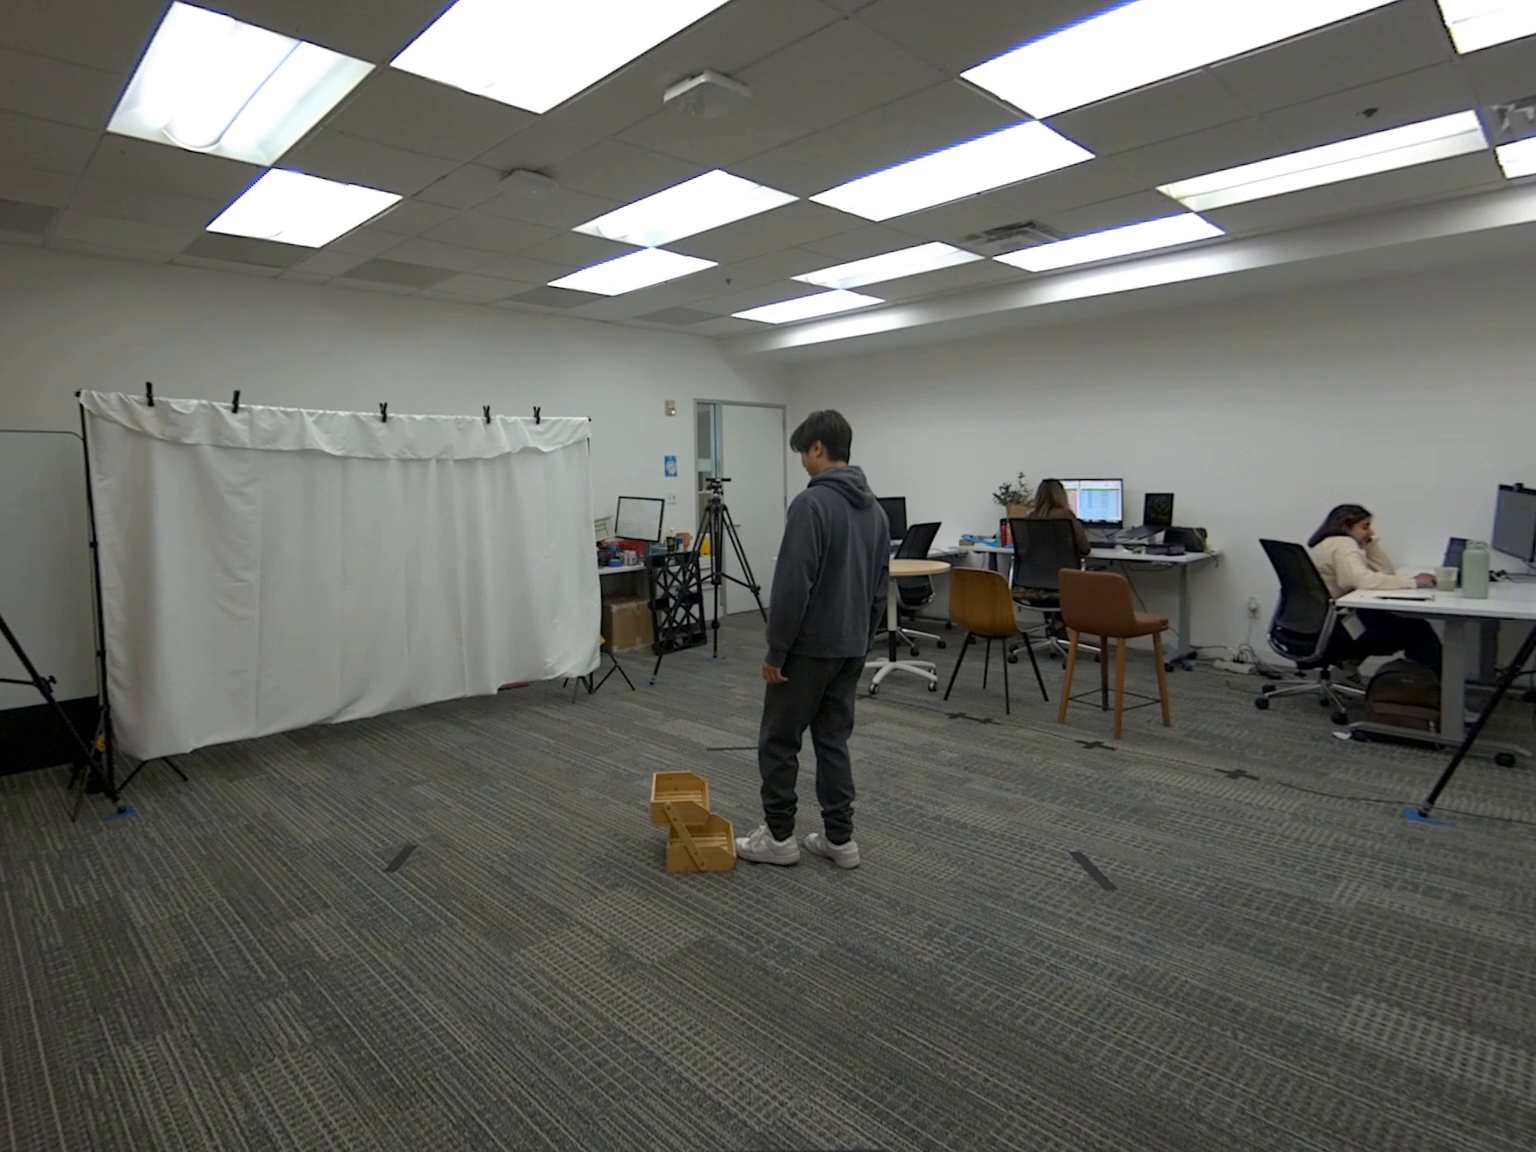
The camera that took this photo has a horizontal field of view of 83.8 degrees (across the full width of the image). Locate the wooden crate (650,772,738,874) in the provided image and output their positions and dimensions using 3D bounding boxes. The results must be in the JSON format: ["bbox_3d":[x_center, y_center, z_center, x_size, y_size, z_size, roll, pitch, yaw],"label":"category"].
[{"bbox_3d":[-0.271,0.904,3.187,0.301,0.272,0.327,-2,5,-5],"label":"wooden crate"}]
